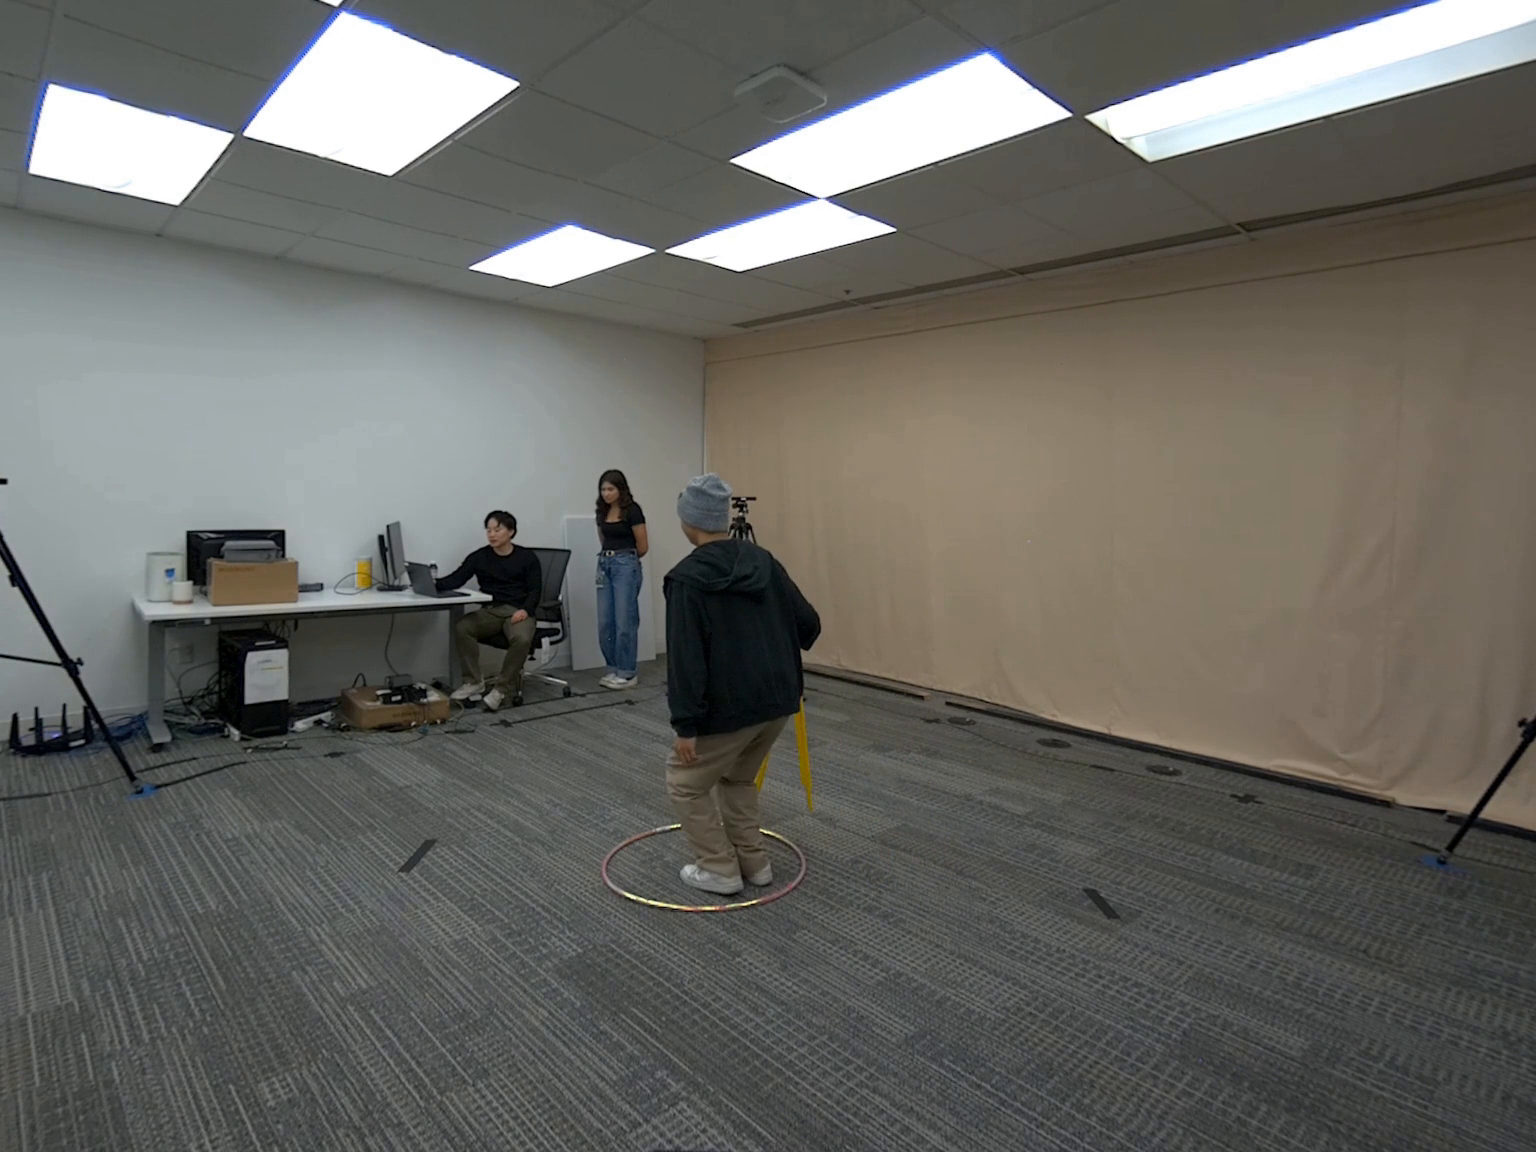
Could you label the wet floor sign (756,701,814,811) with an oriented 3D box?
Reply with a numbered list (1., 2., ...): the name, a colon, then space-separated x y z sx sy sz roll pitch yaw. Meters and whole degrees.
1. wet floor sign: 0.069 0.570 3.402 0.288 0.641 0.285 3 11 -5
